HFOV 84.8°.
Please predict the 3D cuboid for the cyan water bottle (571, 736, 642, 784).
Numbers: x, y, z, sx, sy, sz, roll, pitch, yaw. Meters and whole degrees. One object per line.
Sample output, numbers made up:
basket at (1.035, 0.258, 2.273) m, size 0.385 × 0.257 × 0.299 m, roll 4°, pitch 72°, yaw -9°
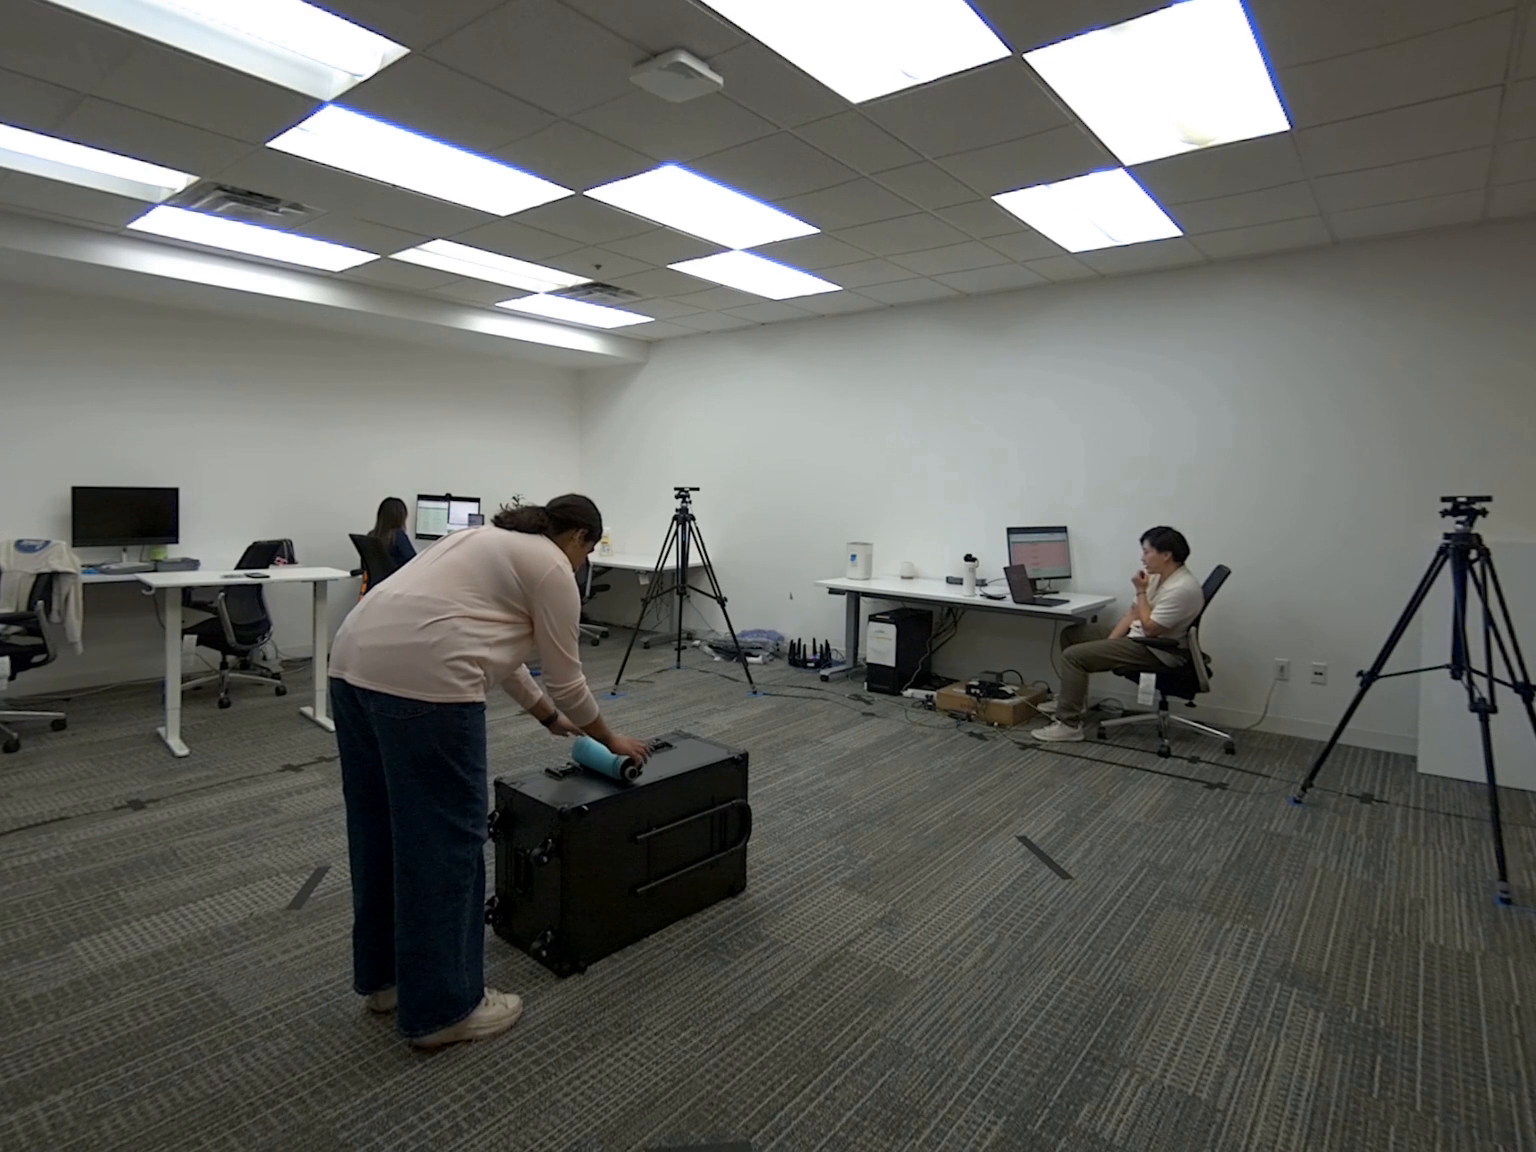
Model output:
cyan water bottle at (-0.509, 0.572, 2.678) m, size 0.293 × 0.092 × 0.089 m, roll 6°, pitch 7°, yaw 42°
